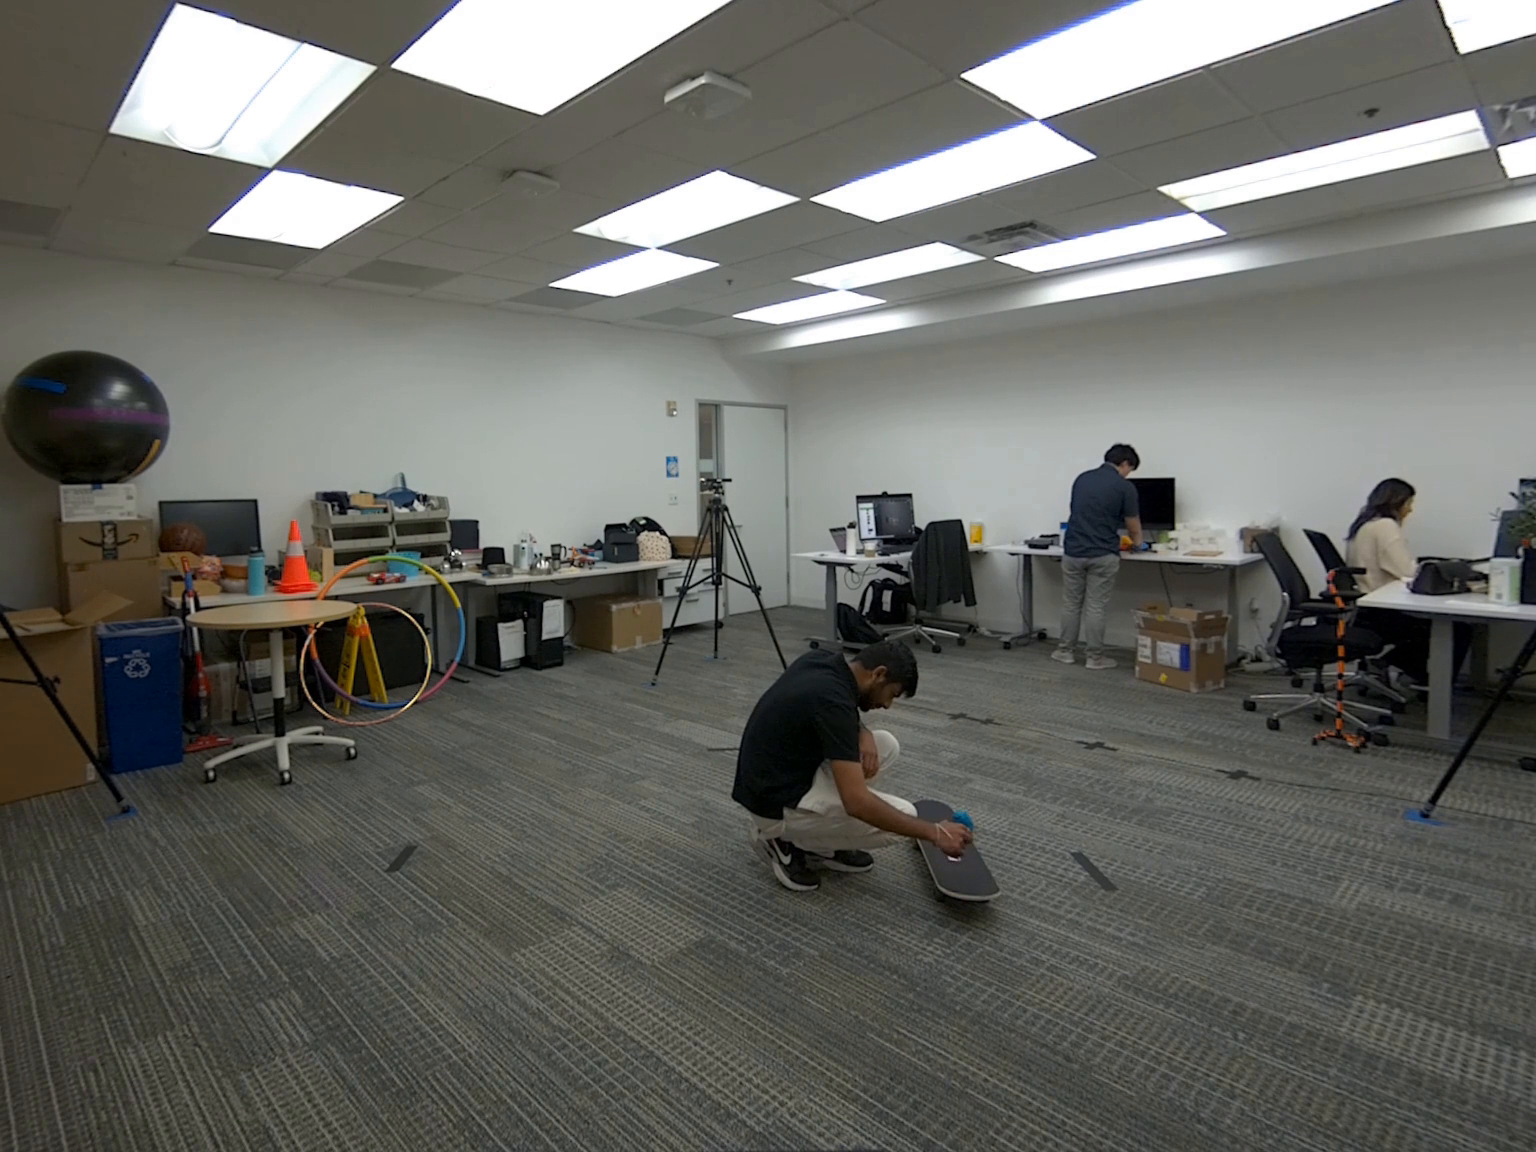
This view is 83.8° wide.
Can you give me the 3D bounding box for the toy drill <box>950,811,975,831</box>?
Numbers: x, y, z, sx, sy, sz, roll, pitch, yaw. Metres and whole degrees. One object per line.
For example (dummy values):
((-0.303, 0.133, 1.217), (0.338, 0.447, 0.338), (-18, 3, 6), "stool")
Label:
((0.609, 0.829, 2.760), (0.063, 0.146, 0.163), (42, -8, 45), "toy drill")
